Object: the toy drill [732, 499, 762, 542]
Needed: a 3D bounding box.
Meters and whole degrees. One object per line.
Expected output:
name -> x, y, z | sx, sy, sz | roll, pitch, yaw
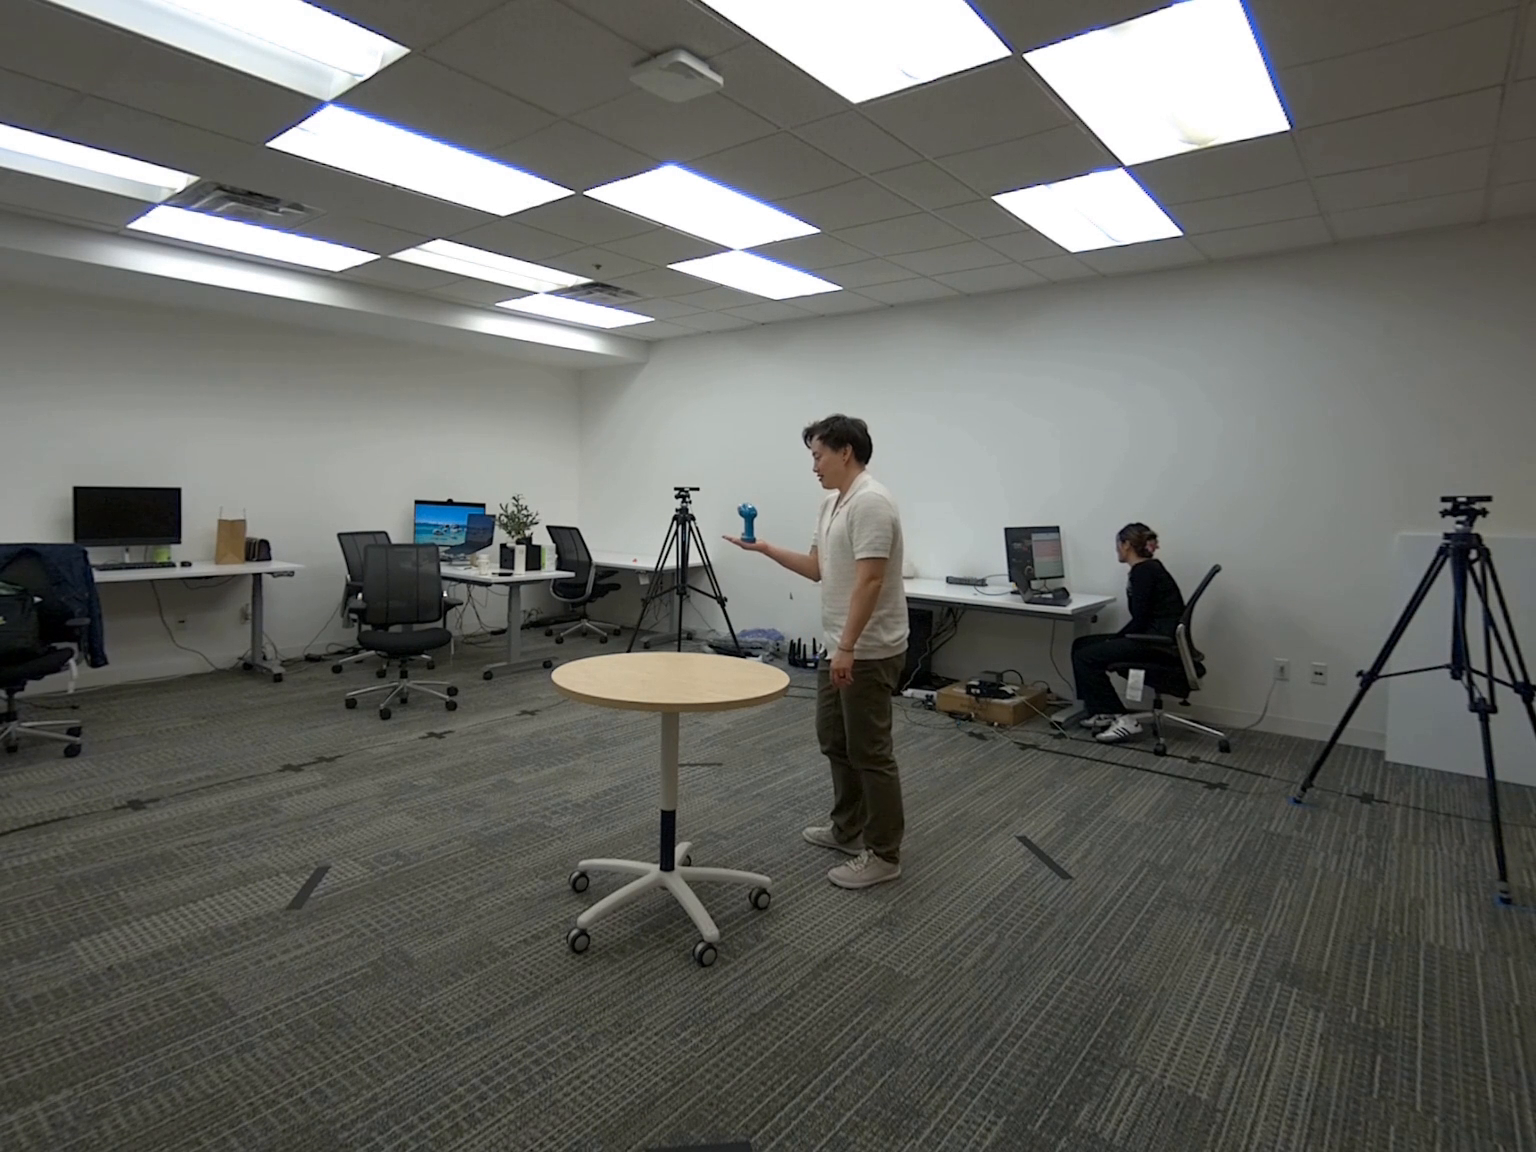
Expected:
toy drill -> -0.085, -0.214, 3.252 | 0.060, 0.144, 0.174 | -3, 12, -18
